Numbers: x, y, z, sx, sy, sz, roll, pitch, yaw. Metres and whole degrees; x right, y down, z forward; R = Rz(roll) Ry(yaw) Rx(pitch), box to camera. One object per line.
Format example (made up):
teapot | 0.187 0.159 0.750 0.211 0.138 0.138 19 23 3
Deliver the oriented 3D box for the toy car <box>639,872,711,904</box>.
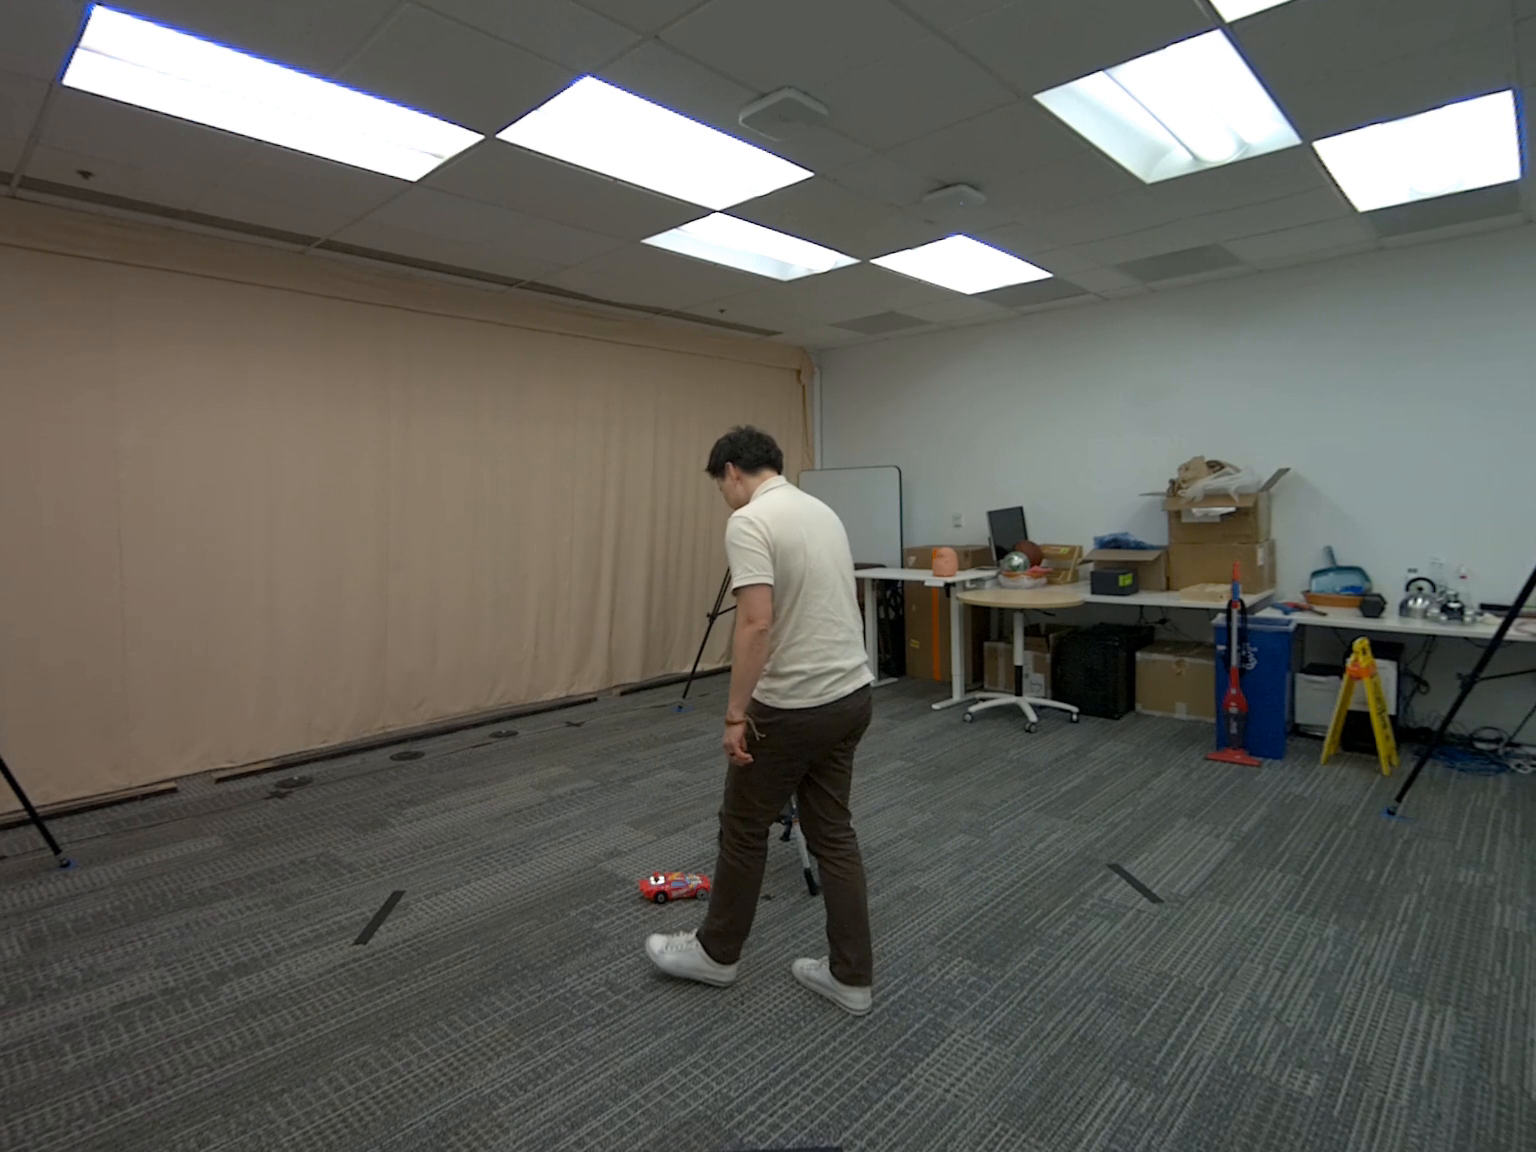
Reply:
toy car | -0.343 1.124 3.006 0.251 0.083 0.132 6 1 -13
